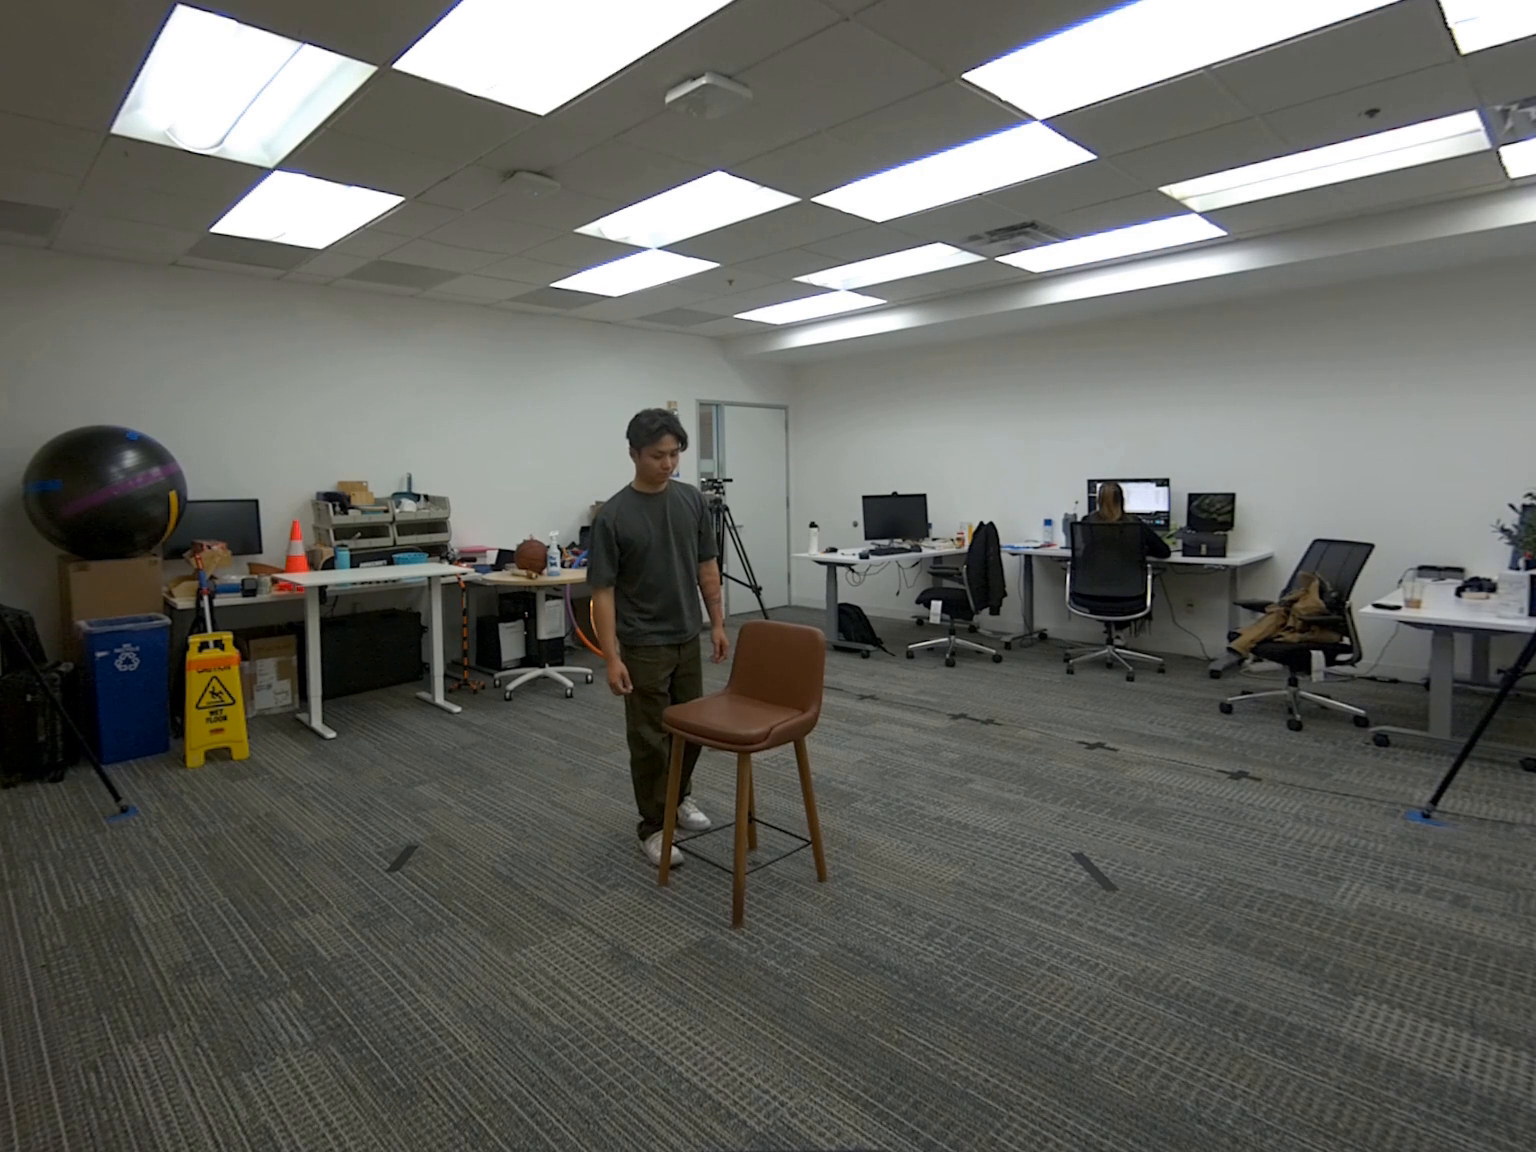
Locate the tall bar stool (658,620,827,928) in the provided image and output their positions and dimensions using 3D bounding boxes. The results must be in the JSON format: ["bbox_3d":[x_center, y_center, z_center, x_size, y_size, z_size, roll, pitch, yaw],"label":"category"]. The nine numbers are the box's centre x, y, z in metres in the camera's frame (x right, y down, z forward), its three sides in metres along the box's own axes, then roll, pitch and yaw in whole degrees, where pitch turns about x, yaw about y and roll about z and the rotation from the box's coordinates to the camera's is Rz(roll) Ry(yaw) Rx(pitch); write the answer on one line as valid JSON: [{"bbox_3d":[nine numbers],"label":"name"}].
[{"bbox_3d":[-0.079,0.631,2.925,0.455,0.887,0.471,-3,5,-44],"label":"tall bar stool"}]
